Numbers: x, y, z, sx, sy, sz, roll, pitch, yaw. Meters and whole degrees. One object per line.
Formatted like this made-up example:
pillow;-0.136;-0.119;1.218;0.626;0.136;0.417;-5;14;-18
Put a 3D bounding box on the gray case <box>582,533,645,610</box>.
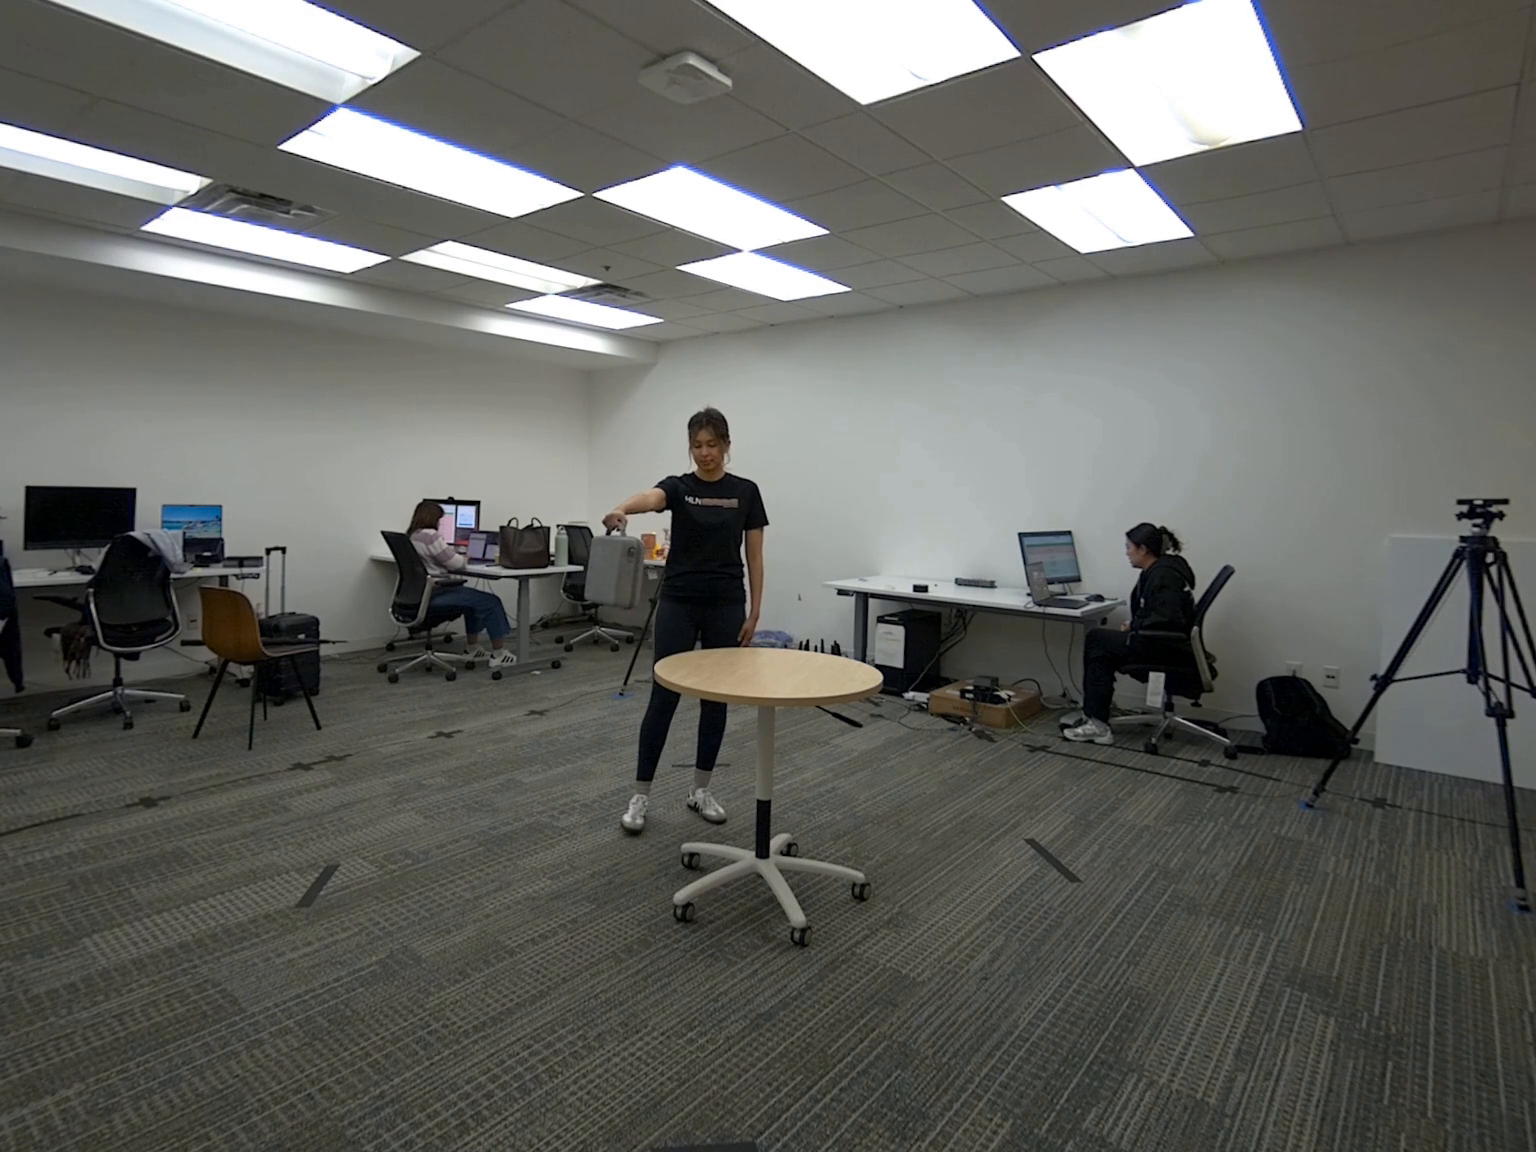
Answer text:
gray case;-0.562;-0.023;3.071;0.101;0.261;0.265;7;-2;-36
